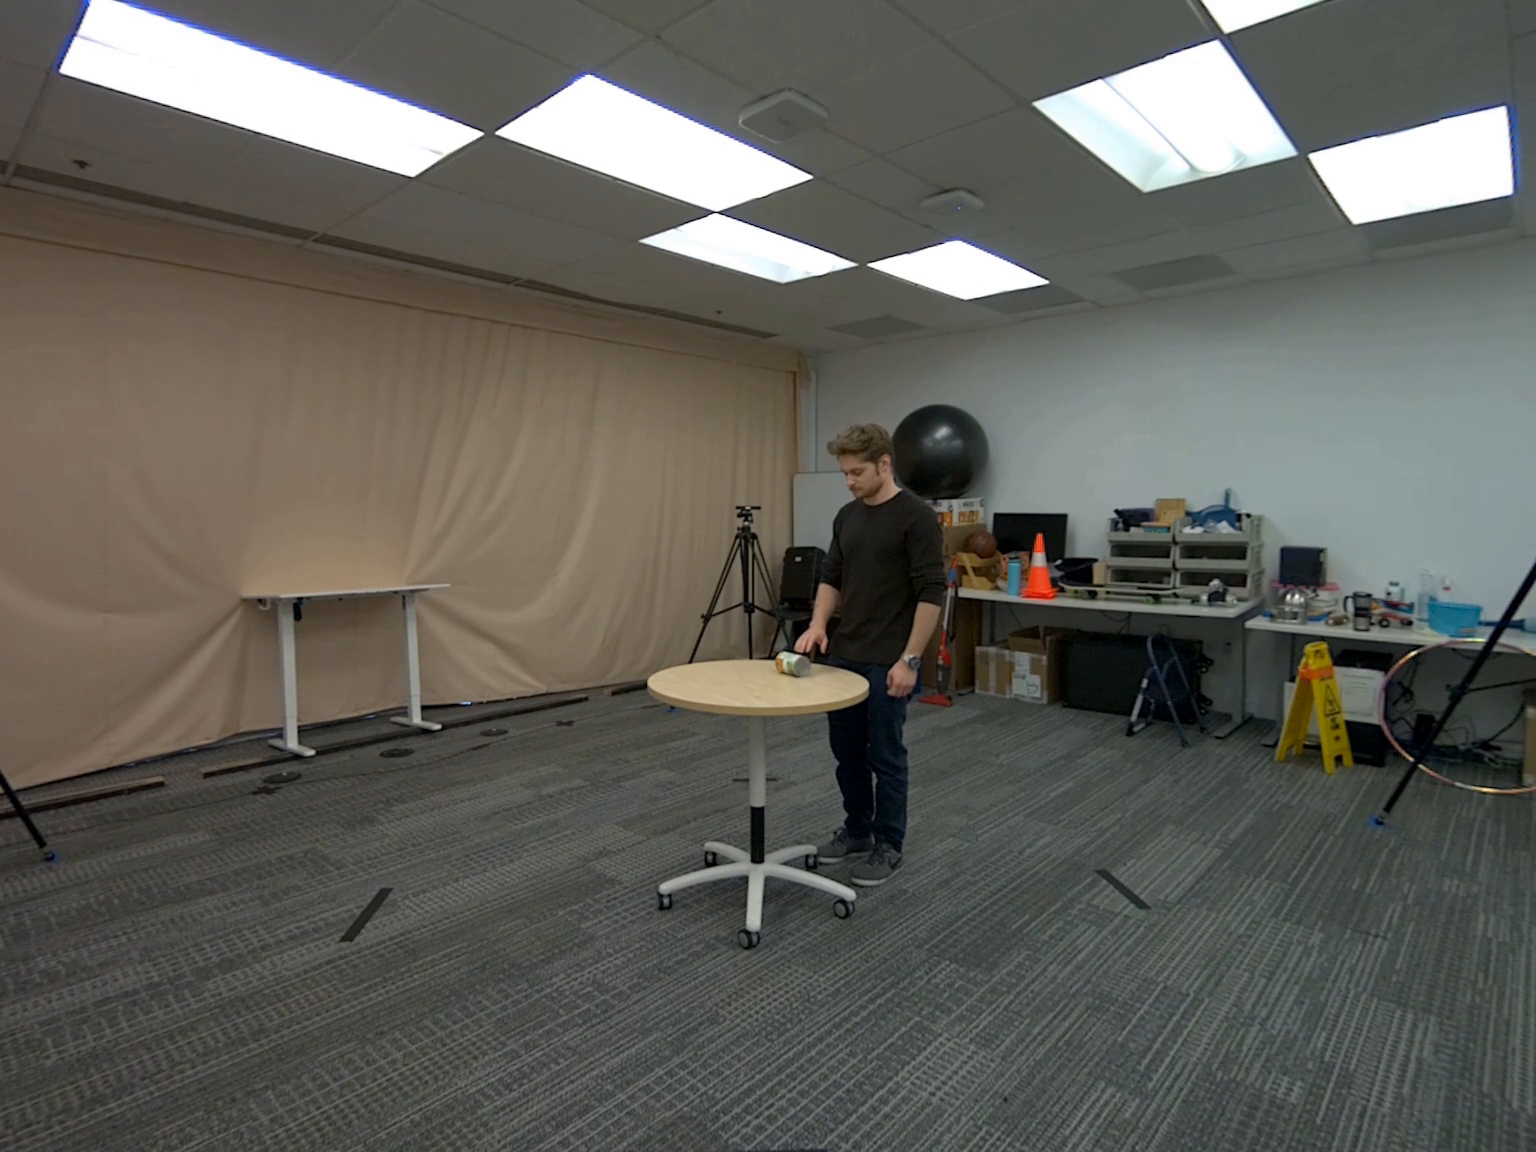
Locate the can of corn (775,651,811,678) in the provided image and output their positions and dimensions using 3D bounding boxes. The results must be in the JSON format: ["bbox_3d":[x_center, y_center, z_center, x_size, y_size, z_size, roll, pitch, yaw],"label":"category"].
[{"bbox_3d":[0.087,0.317,3.035,0.072,0.074,0.114,-2,5,-33],"label":"can of corn"}]
